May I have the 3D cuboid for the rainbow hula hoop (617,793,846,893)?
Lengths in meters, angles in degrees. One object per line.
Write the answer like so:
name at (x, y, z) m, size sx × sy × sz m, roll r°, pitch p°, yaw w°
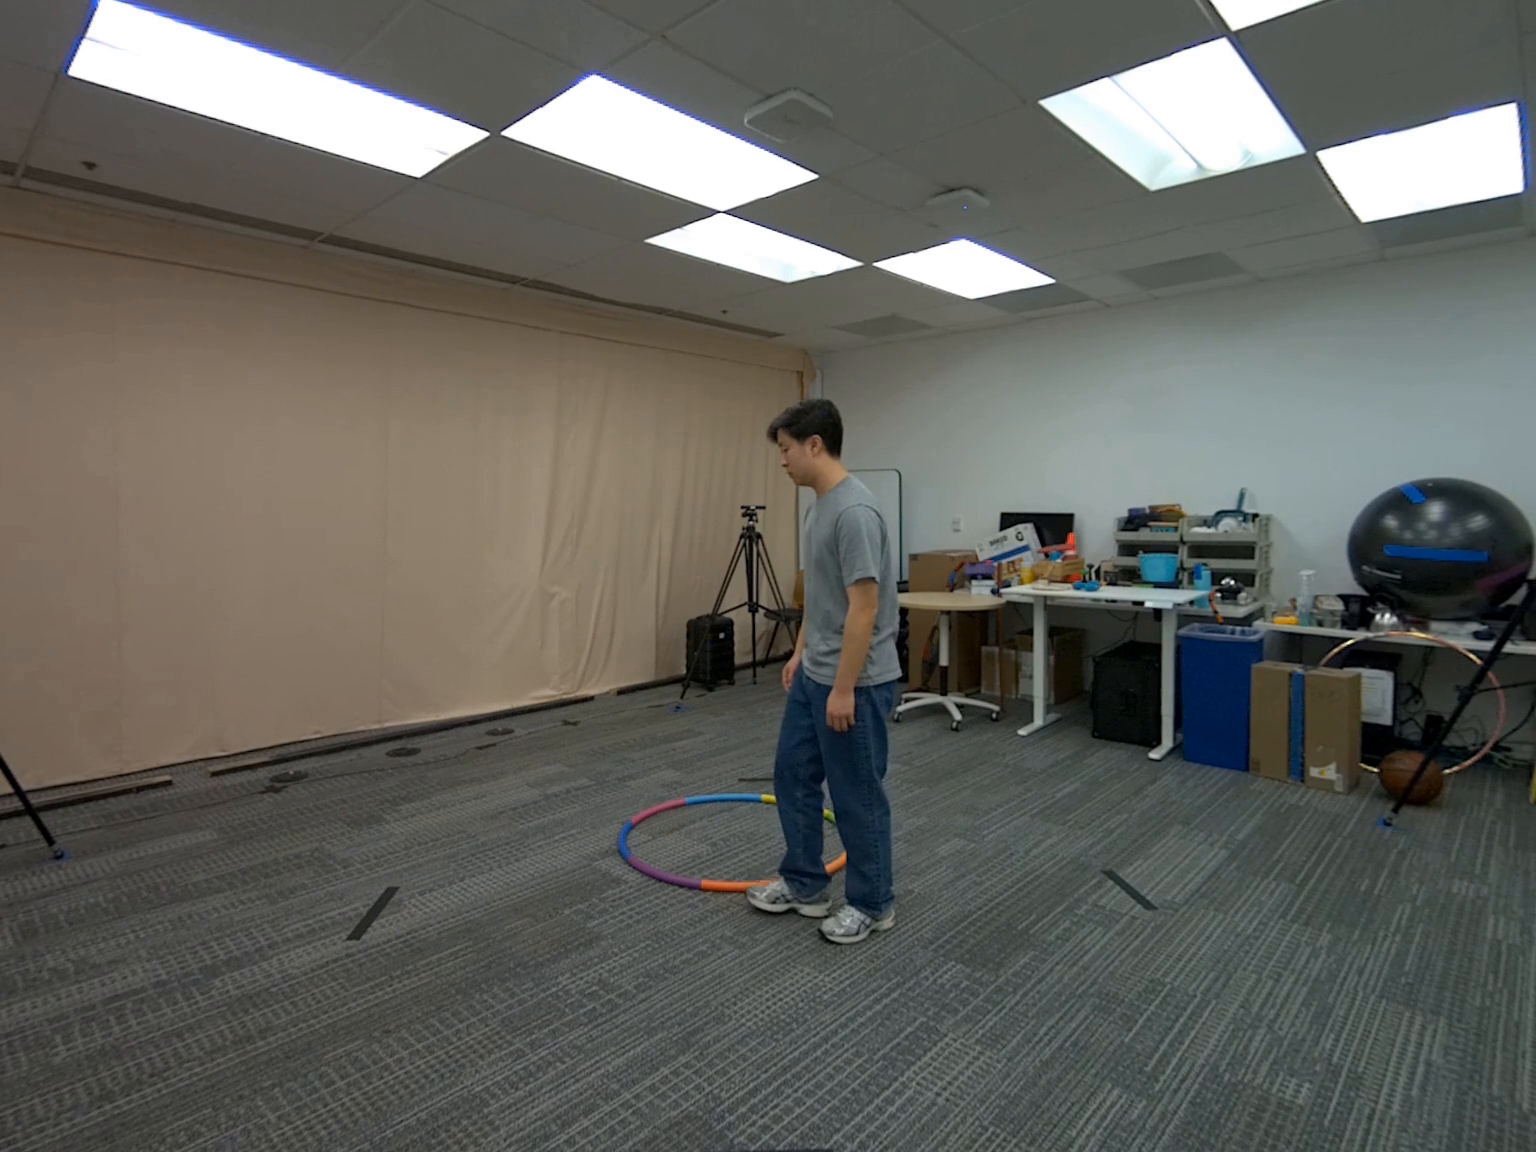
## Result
rainbow hula hoop at (-0.128, 1.070, 3.513) m, size 0.978 × 0.035 × 0.982 m, roll -1°, pitch 5°, yaw -2°
